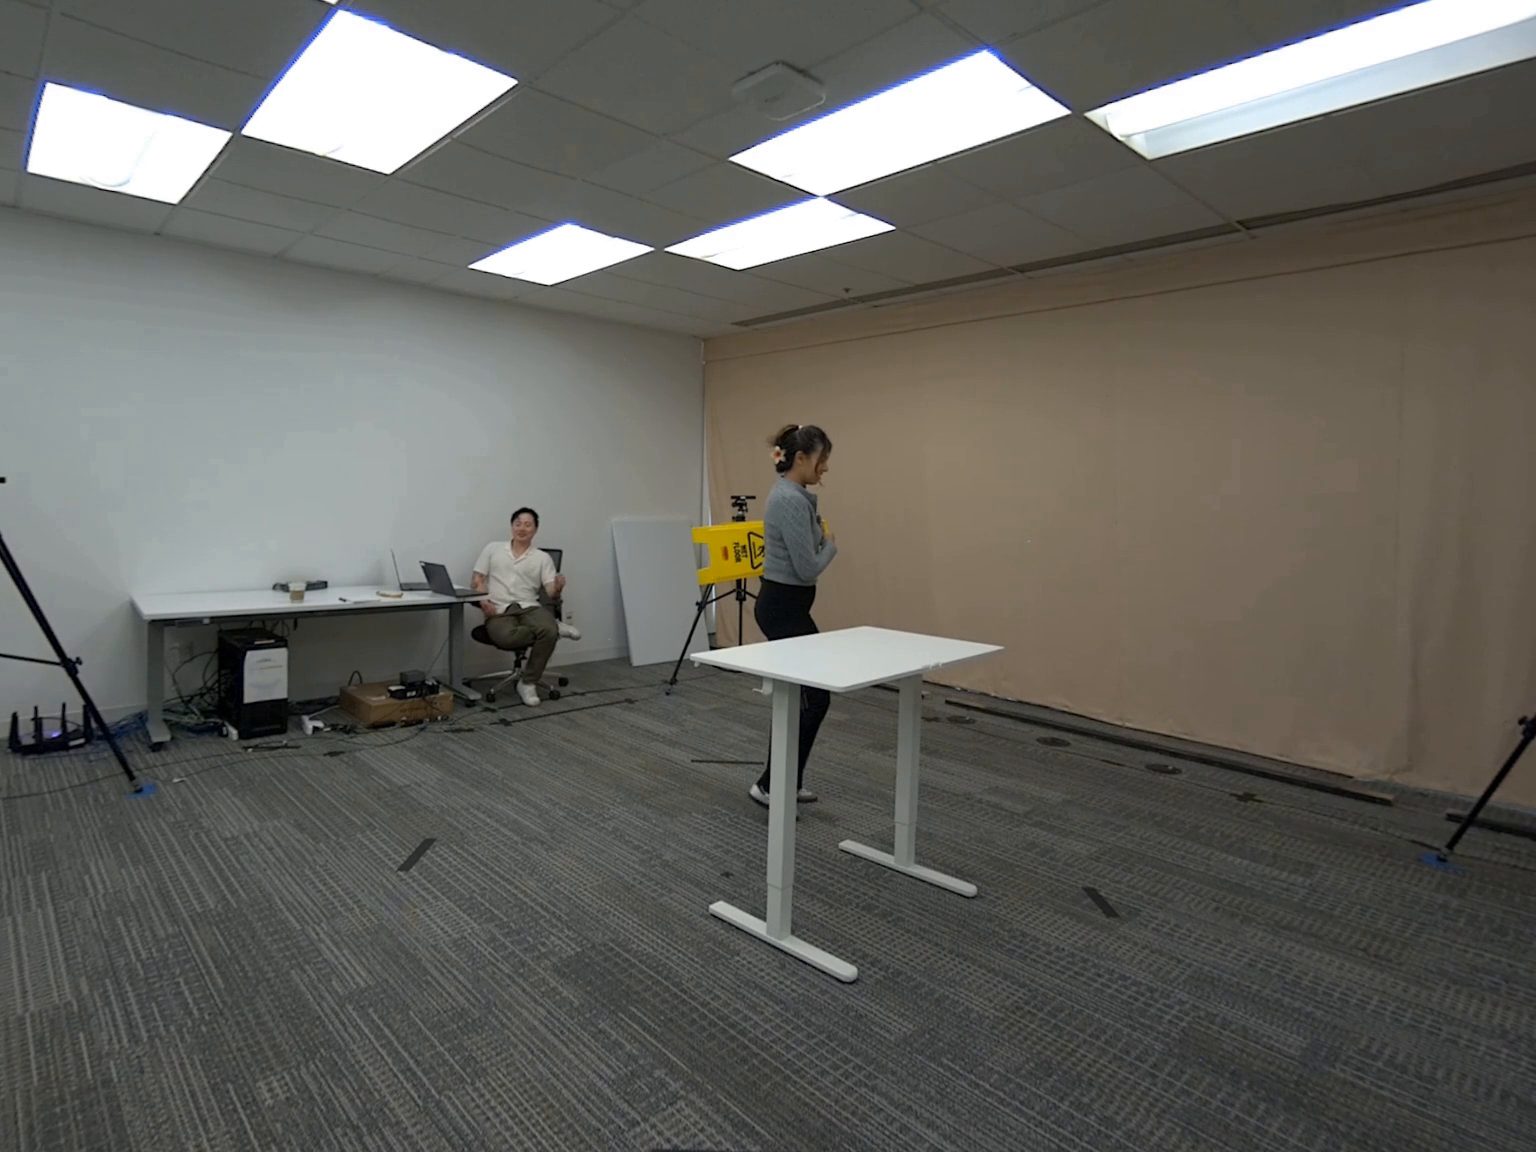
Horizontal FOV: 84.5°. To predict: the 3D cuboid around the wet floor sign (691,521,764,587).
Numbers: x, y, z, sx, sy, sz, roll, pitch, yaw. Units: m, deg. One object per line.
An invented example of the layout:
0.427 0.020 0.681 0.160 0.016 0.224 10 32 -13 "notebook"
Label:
-0.013 -0.131 4.007 0.658 0.282 0.284 -6 1 30 "wet floor sign"
